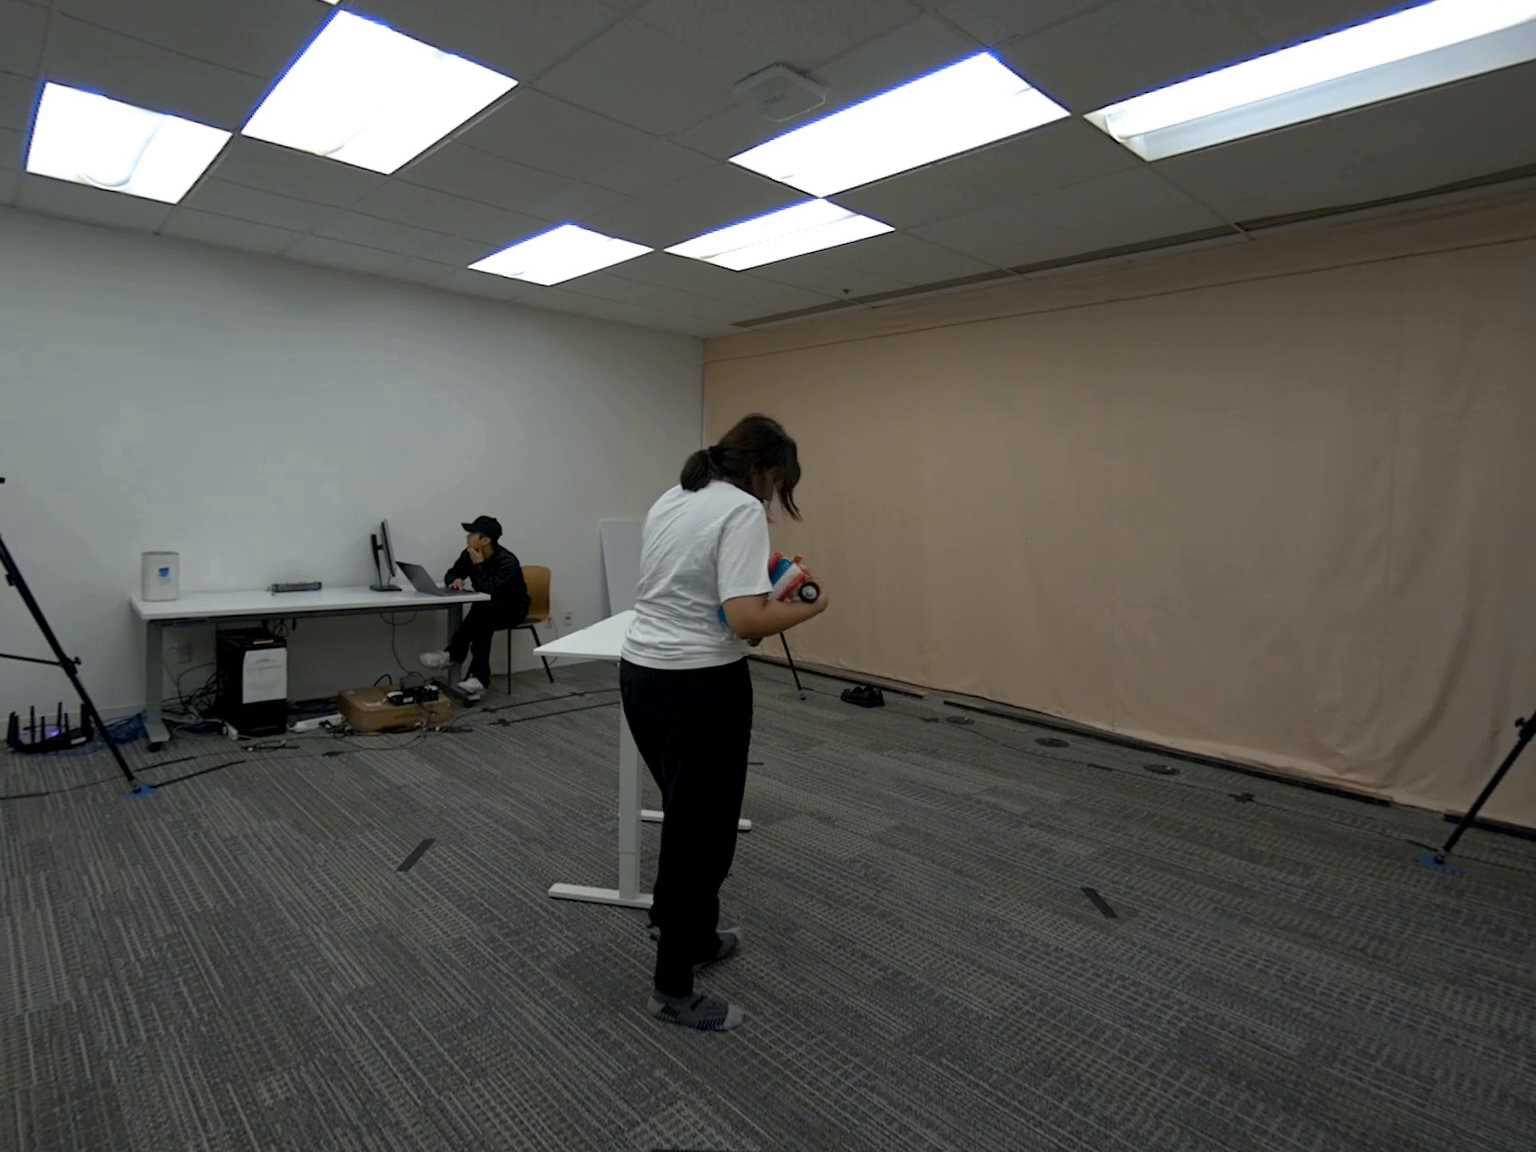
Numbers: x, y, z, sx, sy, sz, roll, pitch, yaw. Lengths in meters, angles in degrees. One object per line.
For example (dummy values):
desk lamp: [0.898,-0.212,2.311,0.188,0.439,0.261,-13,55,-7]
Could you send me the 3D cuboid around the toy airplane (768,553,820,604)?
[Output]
toy airplane: [-0.010,0.052,2.141,0.256,0.159,0.251,-24,-18,-45]
